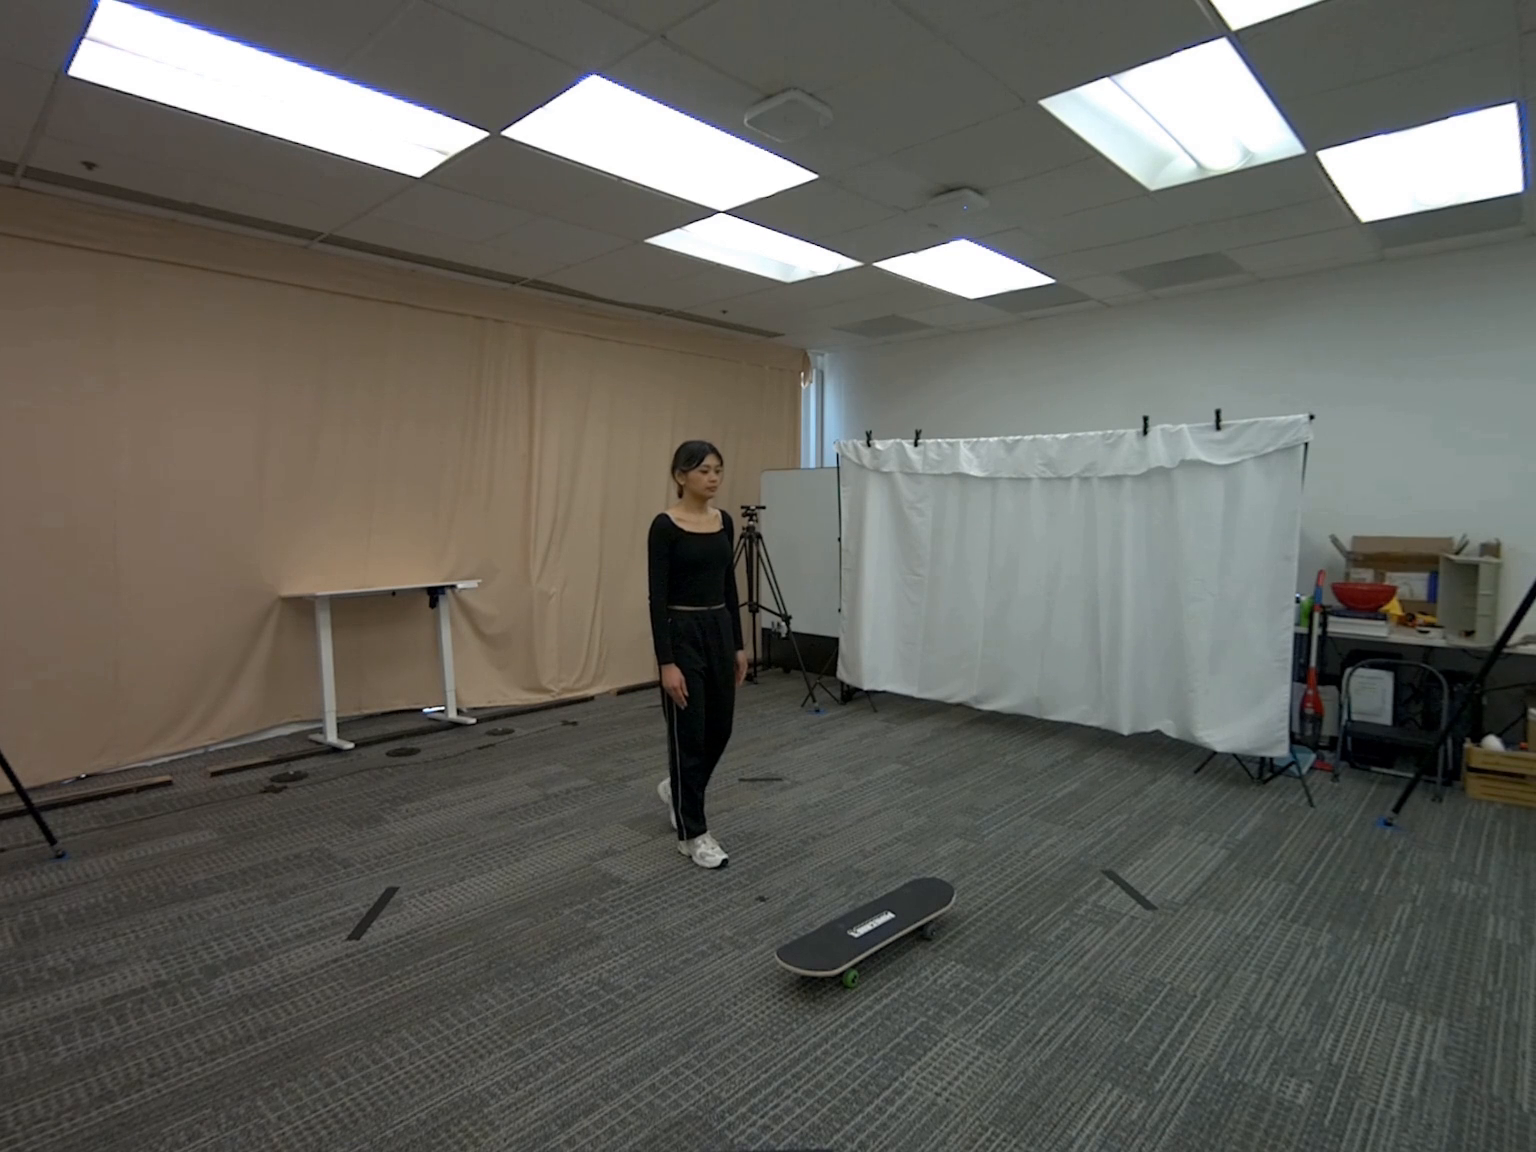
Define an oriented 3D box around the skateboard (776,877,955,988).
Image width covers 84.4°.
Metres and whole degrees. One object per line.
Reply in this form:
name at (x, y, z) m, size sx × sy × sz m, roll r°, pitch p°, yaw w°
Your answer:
skateboard at (0.328, 1.121, 2.615) m, size 0.761 × 0.110 × 0.200 m, roll -4°, pitch 6°, yaw -43°
